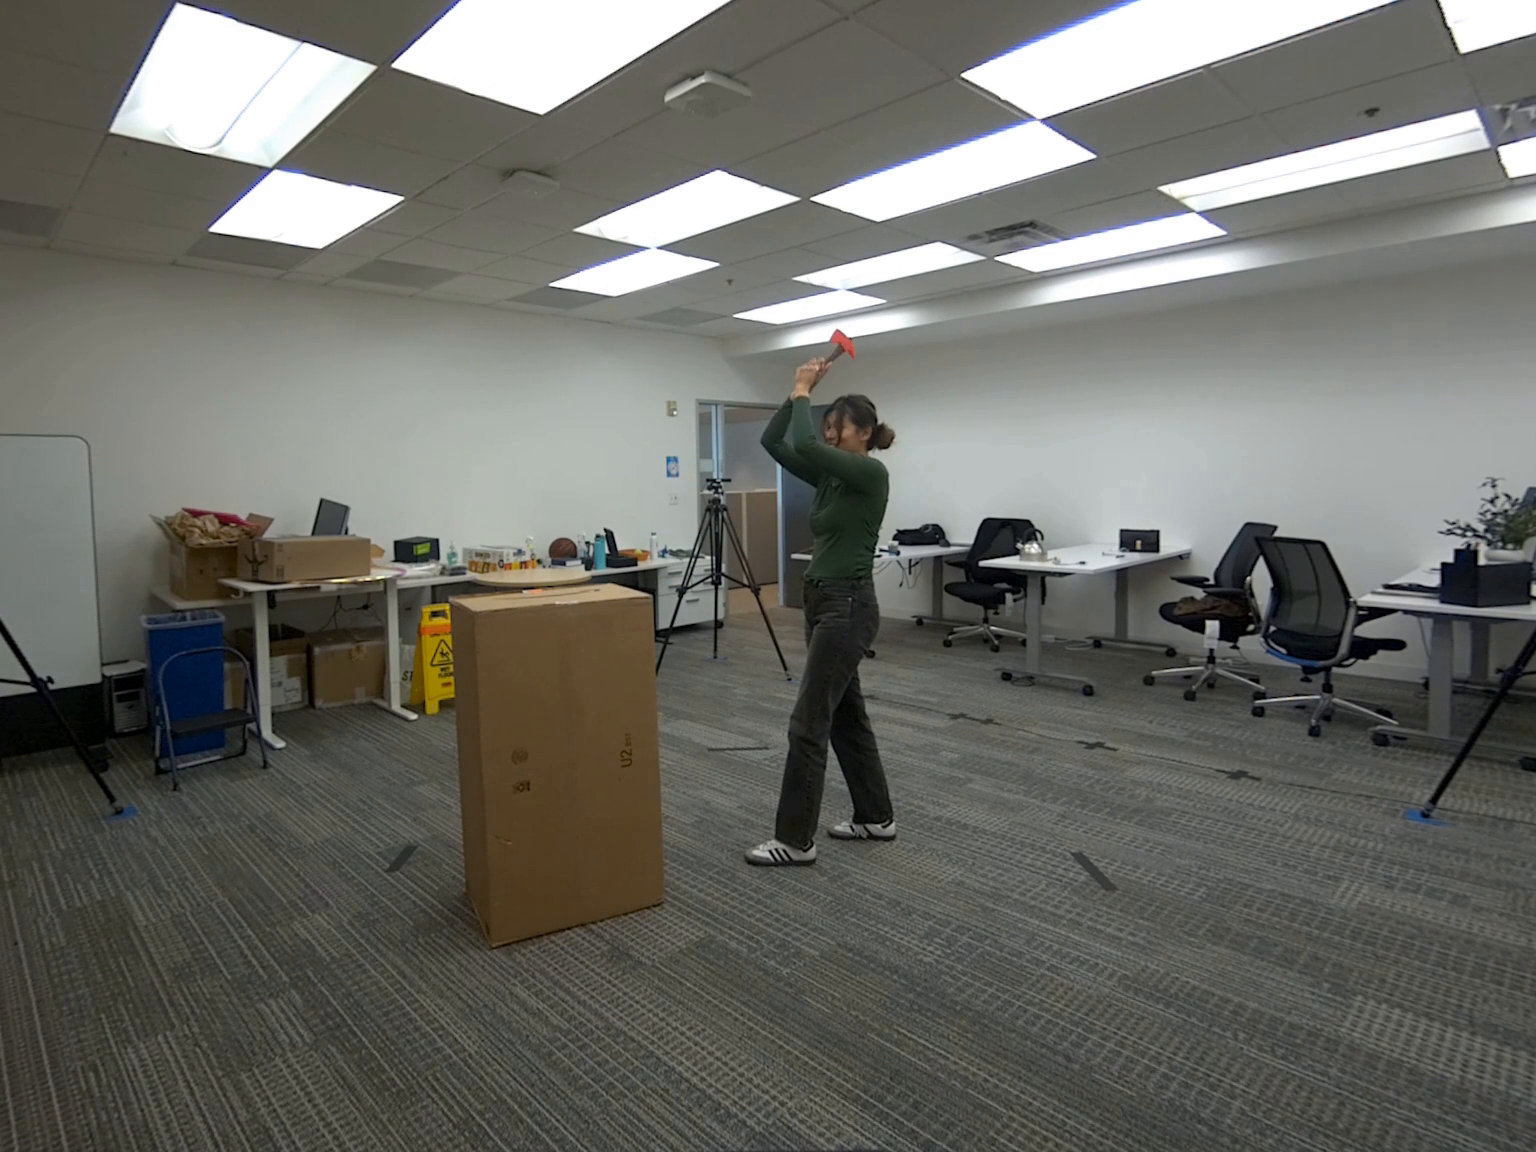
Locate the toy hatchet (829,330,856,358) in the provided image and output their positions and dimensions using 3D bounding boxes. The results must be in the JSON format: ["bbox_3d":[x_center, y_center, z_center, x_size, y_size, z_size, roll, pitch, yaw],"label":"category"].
[{"bbox_3d":[0.191,-0.823,3.125,0.268,0.128,0.030,-30,26,-22],"label":"toy hatchet"}]
